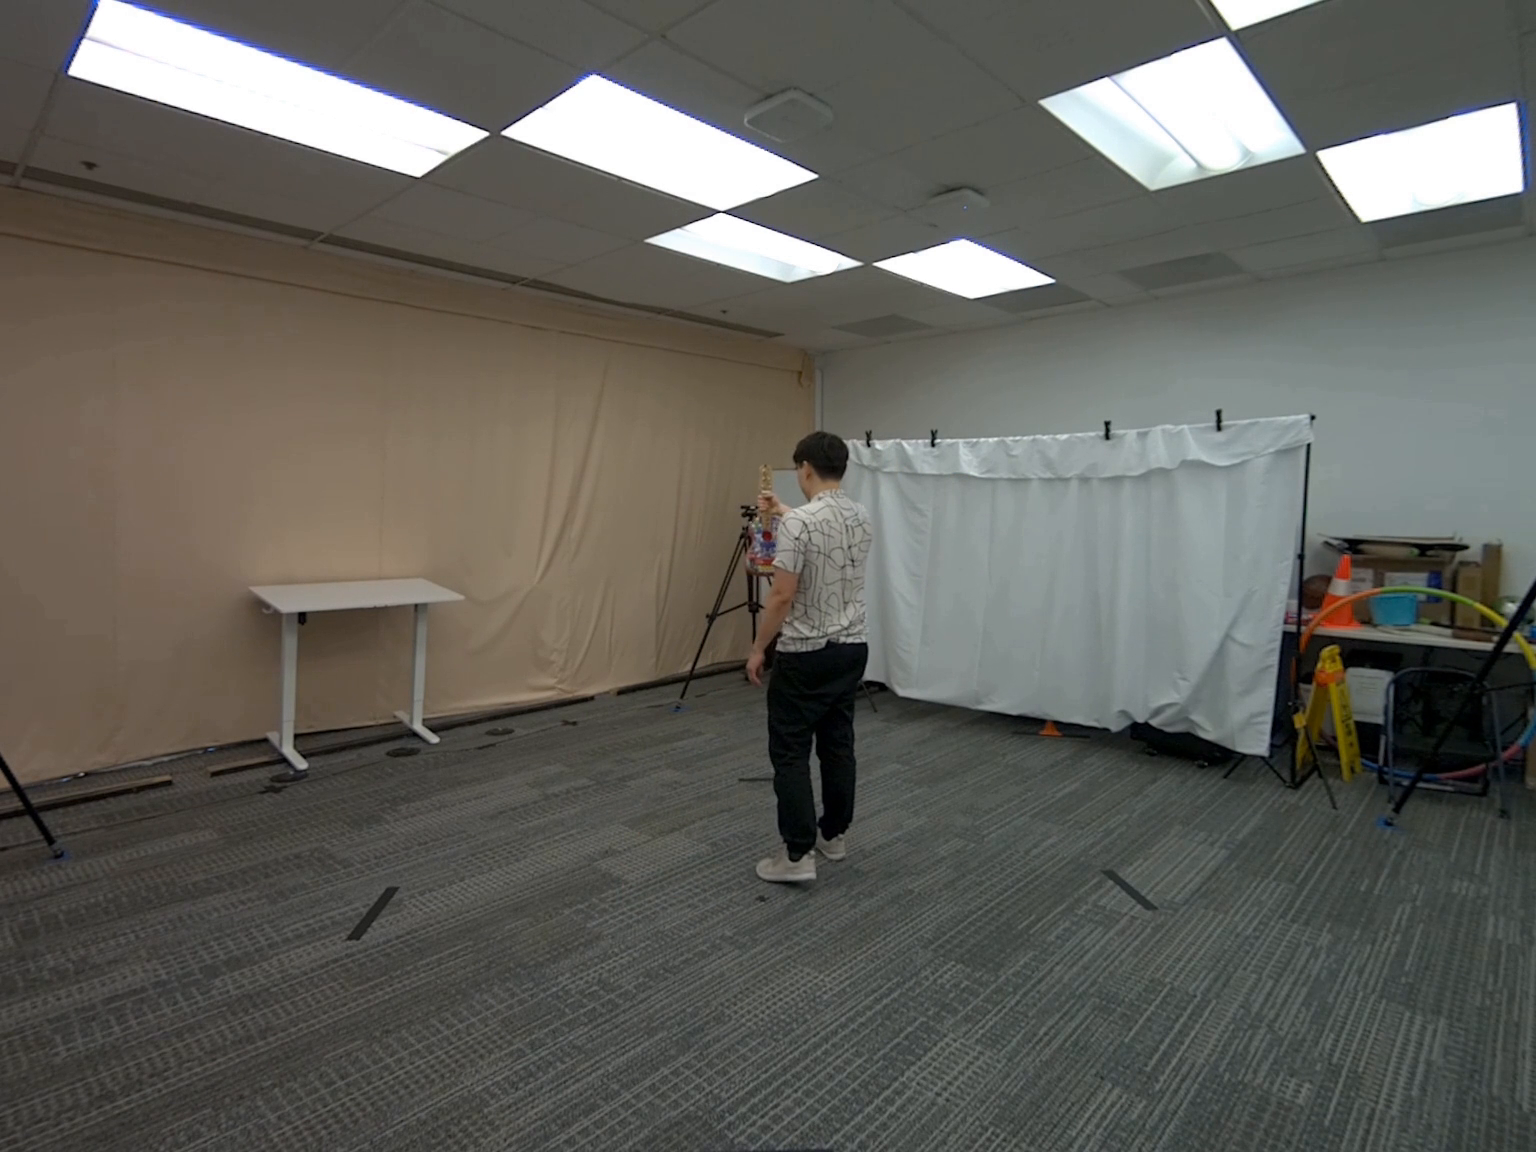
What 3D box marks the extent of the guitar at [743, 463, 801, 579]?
[{"bbox_3d":[0.022,-0.241,3.781,0.192,0.500,0.070,8,-10,-3],"label":"guitar"}]
